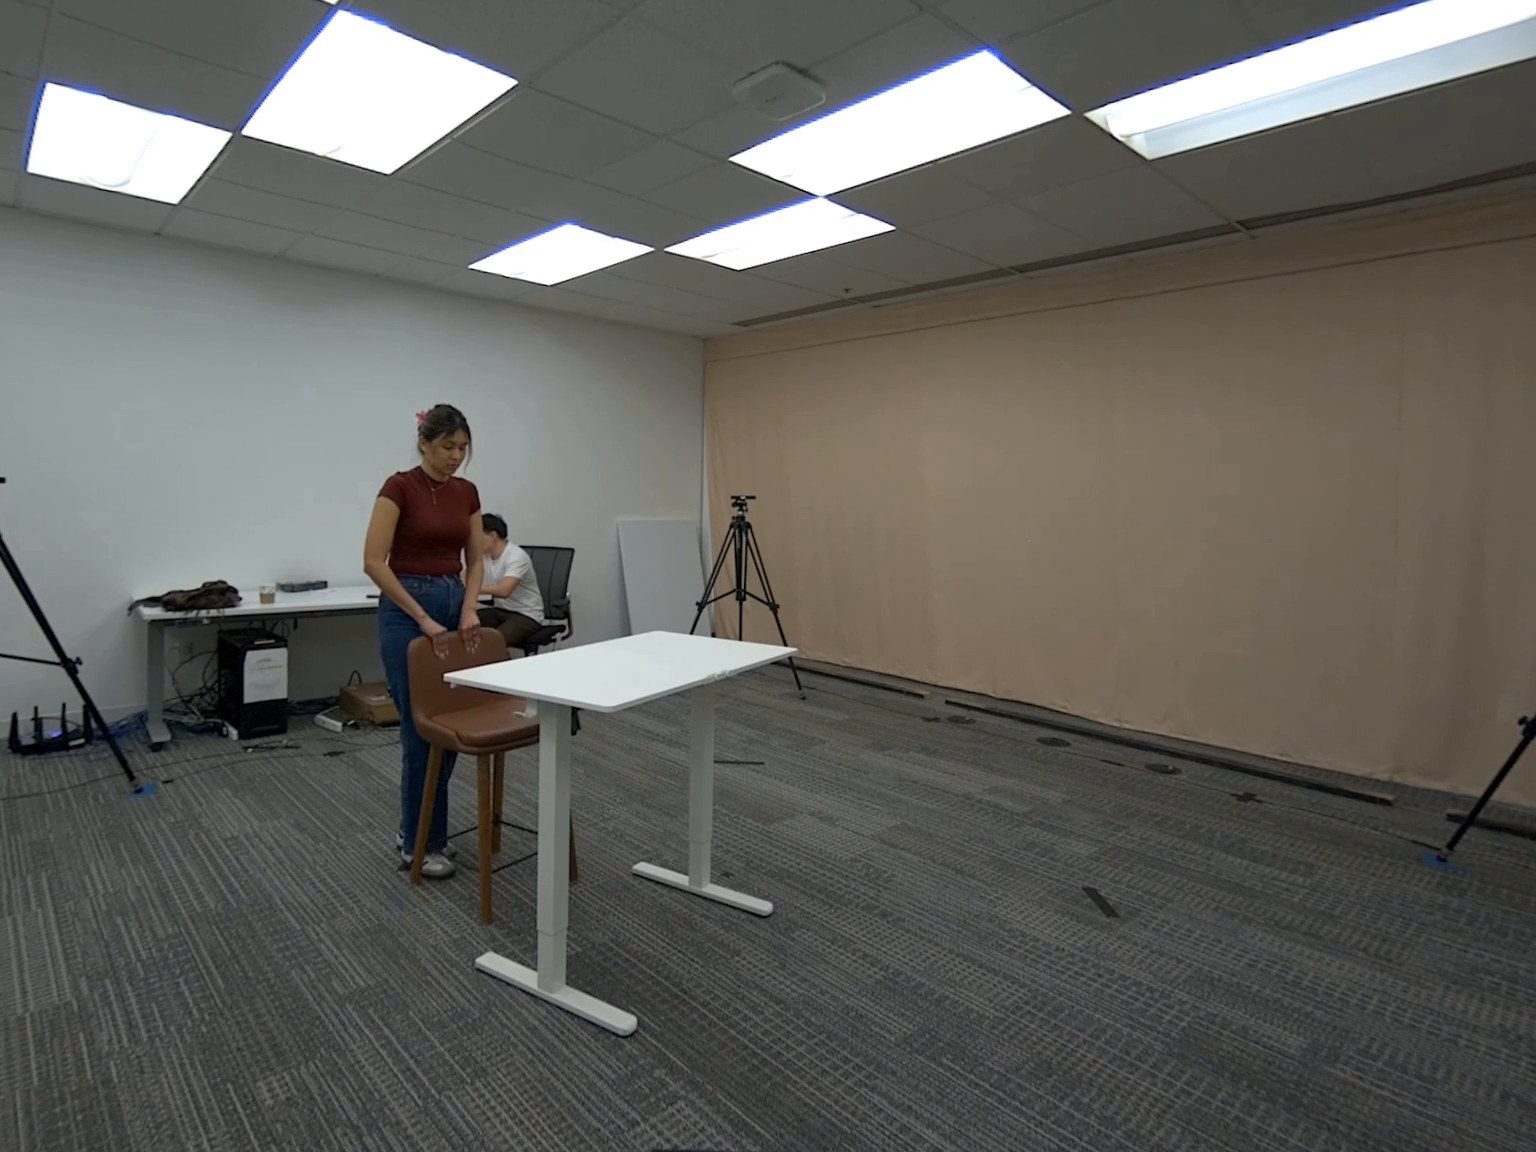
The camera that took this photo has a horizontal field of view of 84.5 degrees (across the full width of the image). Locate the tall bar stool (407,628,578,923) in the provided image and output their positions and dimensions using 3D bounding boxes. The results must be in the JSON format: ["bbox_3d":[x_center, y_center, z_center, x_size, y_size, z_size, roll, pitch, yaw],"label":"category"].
[{"bbox_3d":[-0.978,0.652,2.970,0.478,0.888,0.447,0,3,37],"label":"tall bar stool"}]
